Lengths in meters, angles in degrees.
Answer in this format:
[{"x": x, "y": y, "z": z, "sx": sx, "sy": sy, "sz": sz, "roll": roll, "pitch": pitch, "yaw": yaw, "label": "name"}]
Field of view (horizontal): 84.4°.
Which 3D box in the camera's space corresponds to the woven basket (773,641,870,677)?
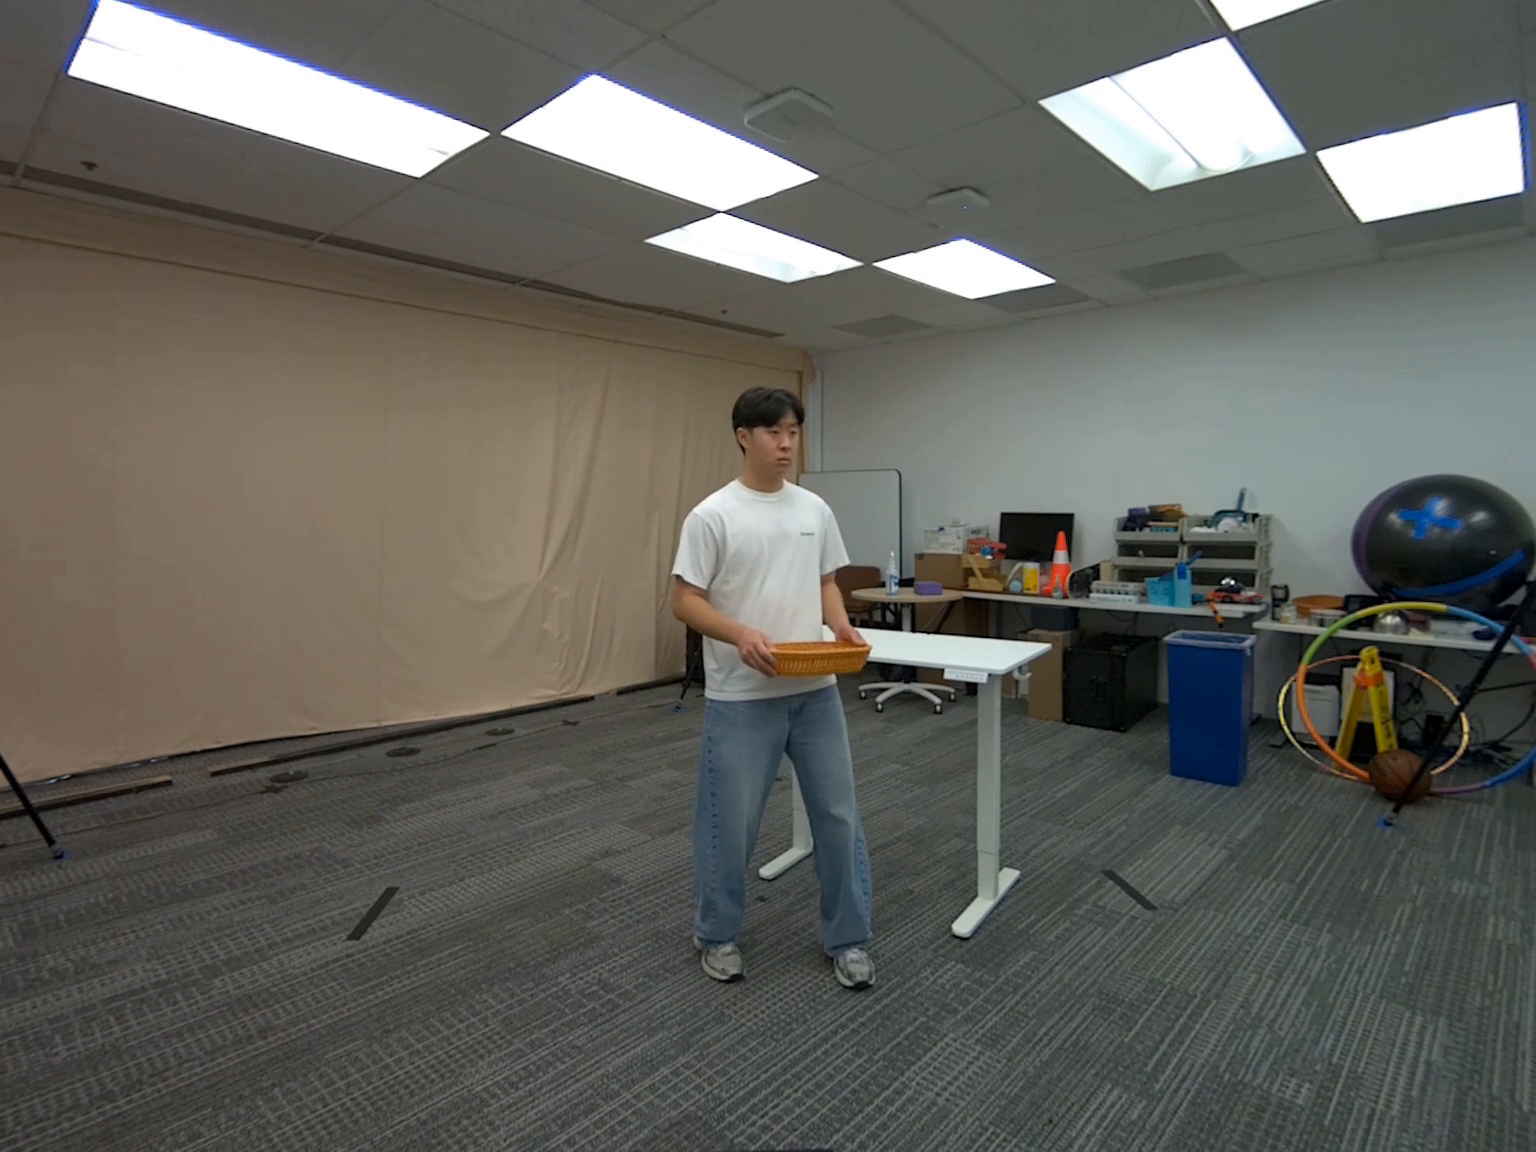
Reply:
[{"x": 0.109, "y": 0.222, "z": 2.340, "sx": 0.340, "sy": 0.073, "sz": 0.261, "roll": -2, "pitch": 5, "yaw": -38, "label": "woven basket"}]
